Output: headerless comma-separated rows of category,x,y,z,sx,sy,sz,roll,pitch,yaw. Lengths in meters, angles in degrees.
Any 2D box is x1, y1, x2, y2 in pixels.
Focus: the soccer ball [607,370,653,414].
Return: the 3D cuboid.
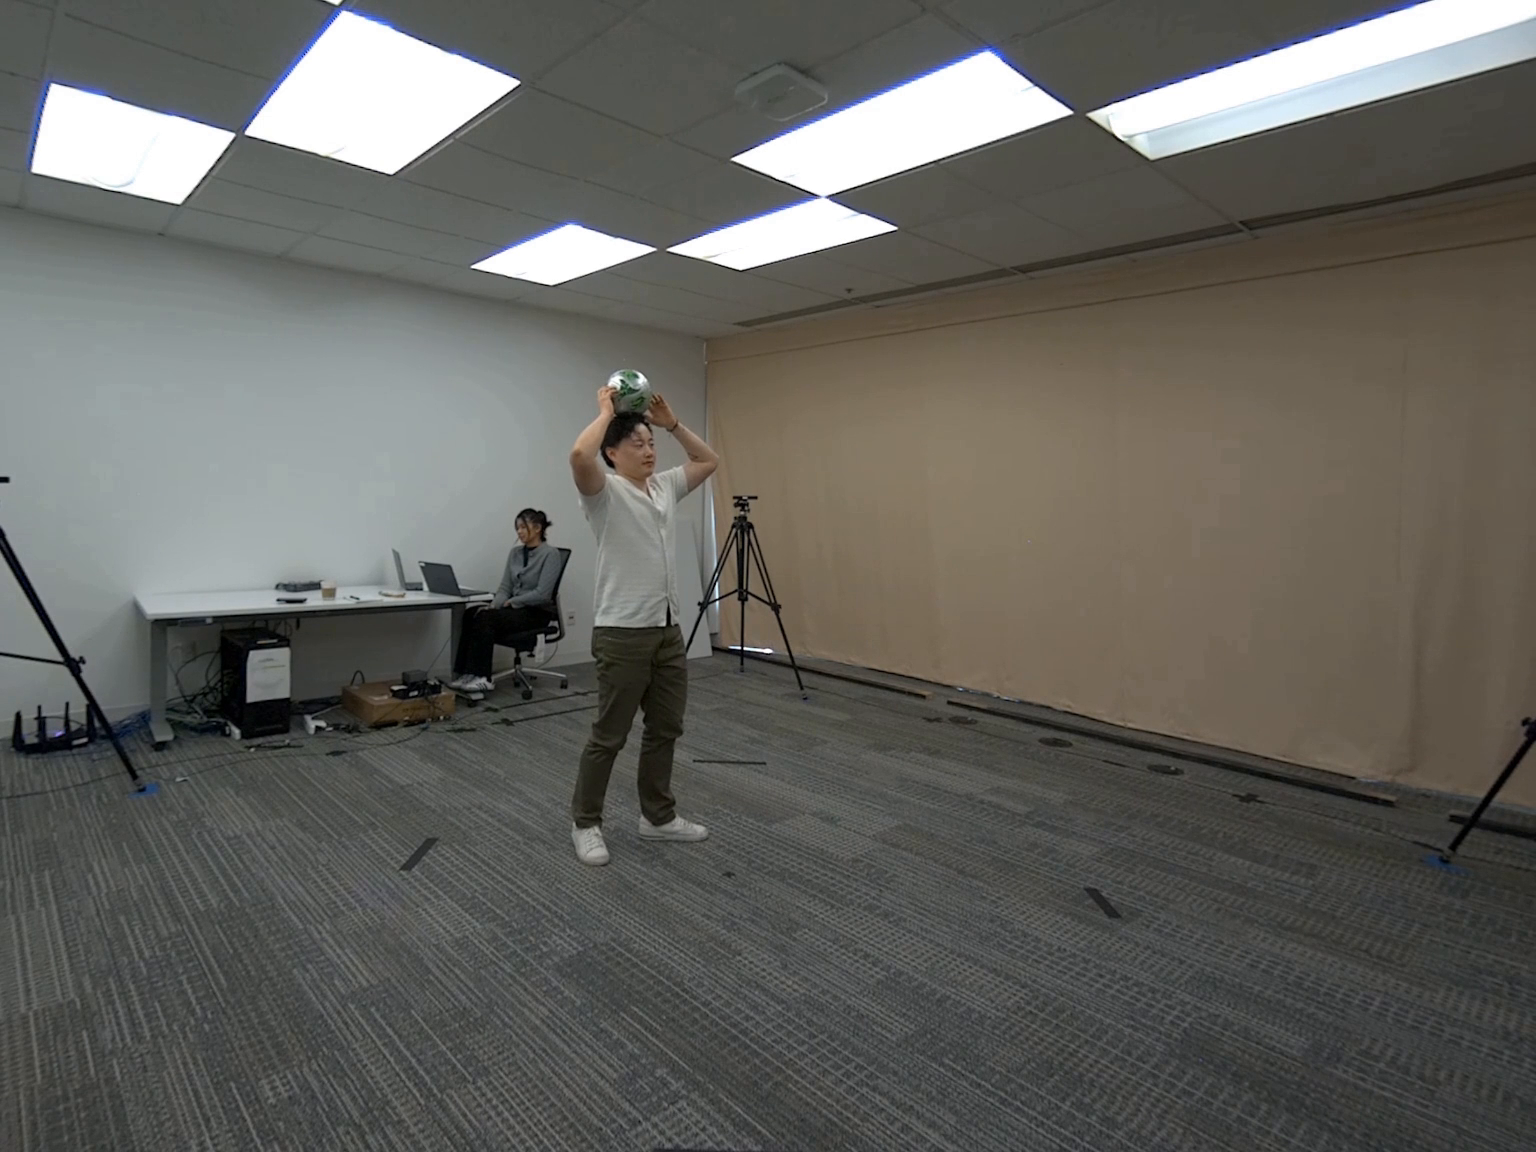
soccer ball,-0.552,-0.693,3.225,0.187,0.187,0.188,1,4,-1
